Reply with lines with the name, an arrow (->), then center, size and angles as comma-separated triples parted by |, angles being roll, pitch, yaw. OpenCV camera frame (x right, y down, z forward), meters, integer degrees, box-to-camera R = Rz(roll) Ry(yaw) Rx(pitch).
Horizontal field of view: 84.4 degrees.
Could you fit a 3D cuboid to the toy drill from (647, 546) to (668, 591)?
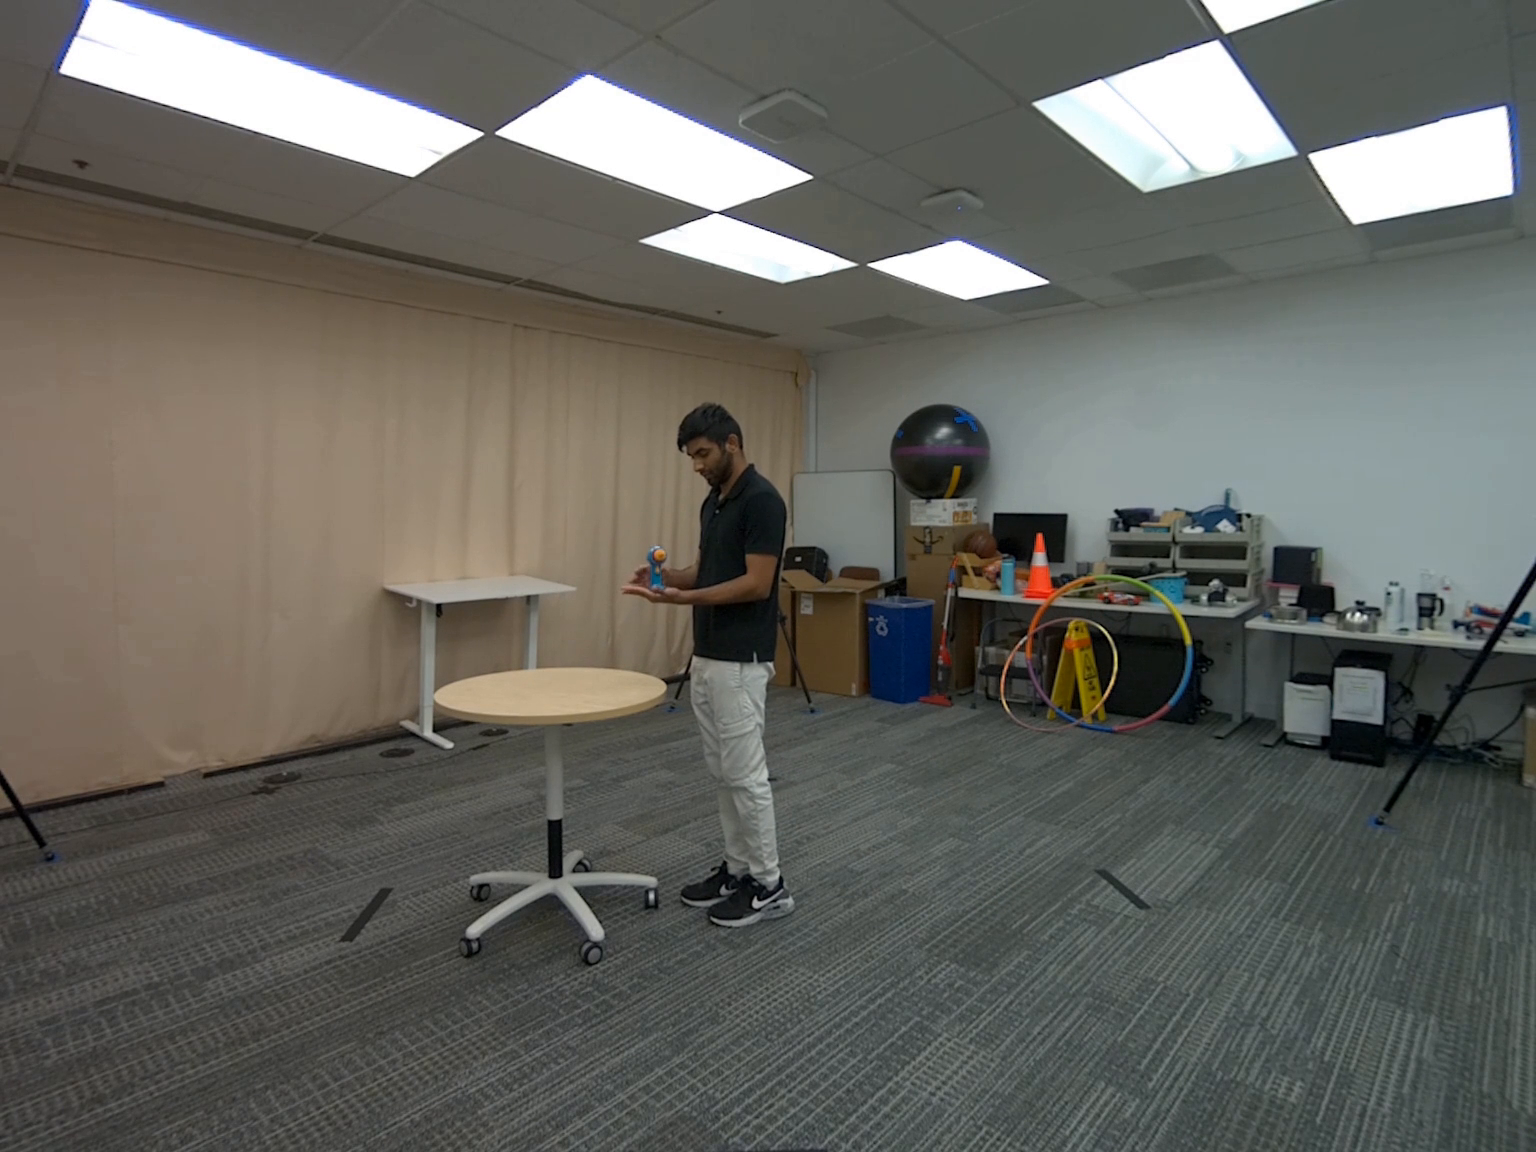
toy drill -> -0.345, -0.022, 2.649 | 0.060, 0.146, 0.172 | -1, -4, -17
